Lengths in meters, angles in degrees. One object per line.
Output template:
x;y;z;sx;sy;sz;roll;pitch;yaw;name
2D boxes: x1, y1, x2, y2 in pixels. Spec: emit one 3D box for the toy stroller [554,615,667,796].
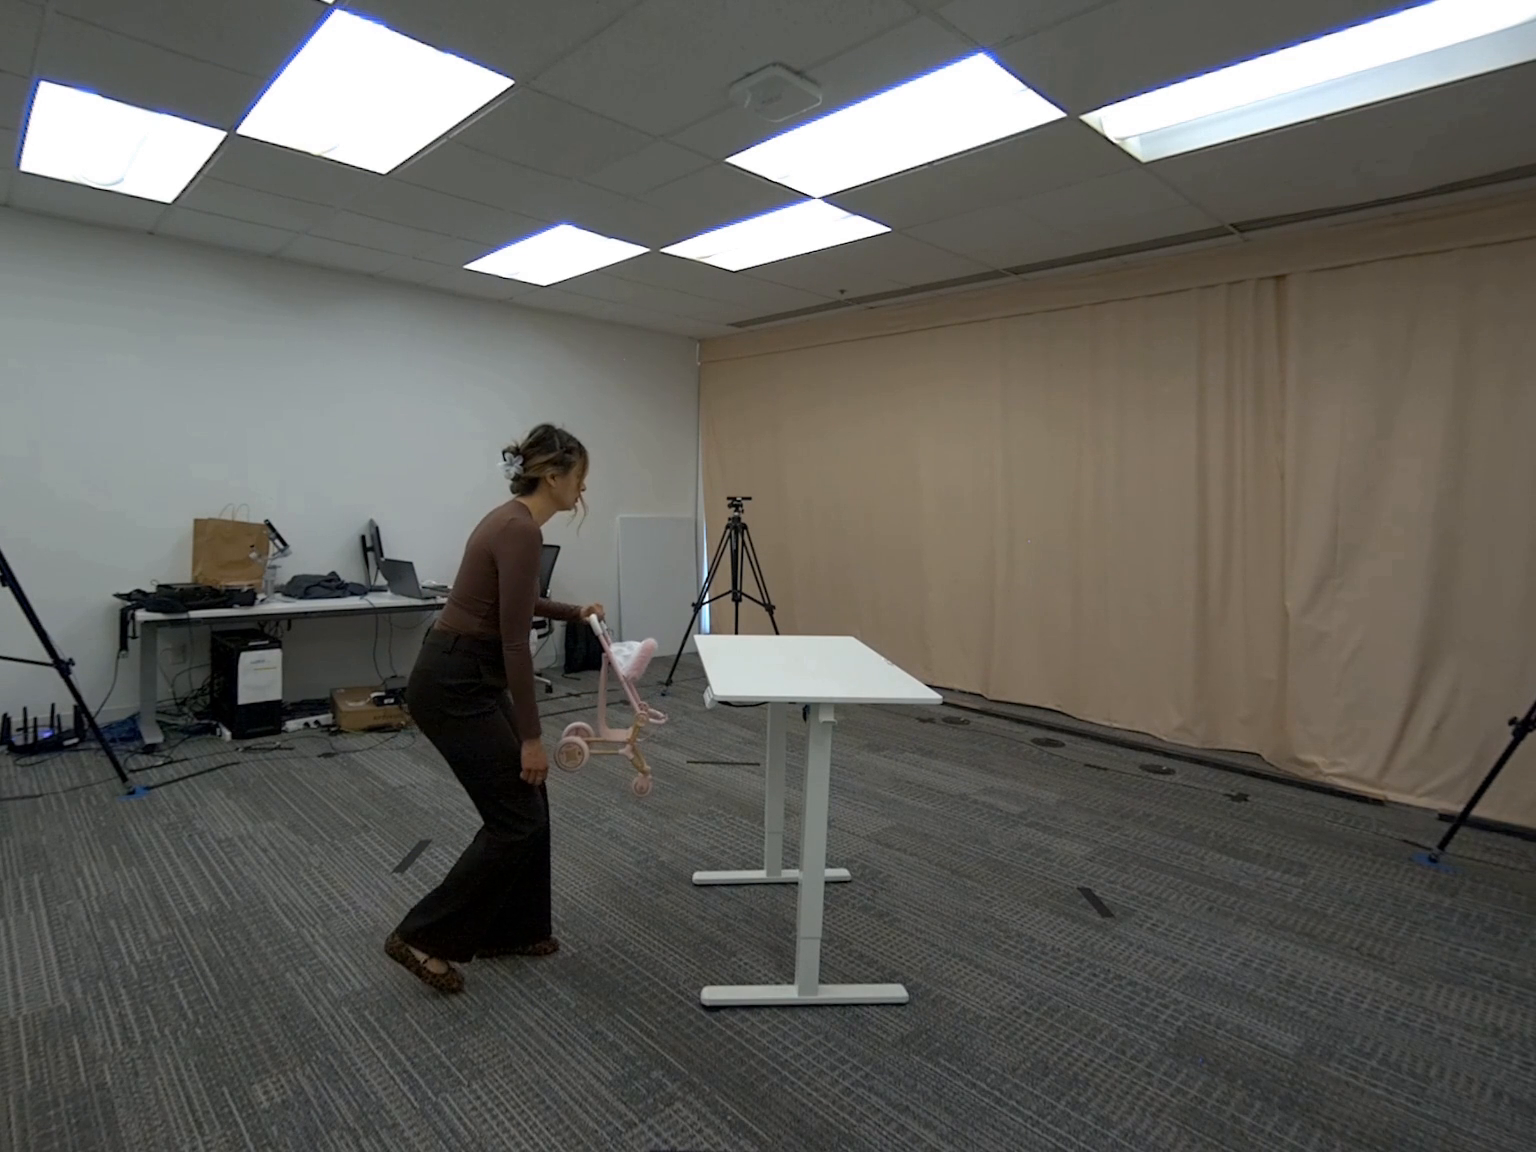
-0.486;0.428;2.722;0.341;0.536;0.281;13;-4;-1;toy stroller
